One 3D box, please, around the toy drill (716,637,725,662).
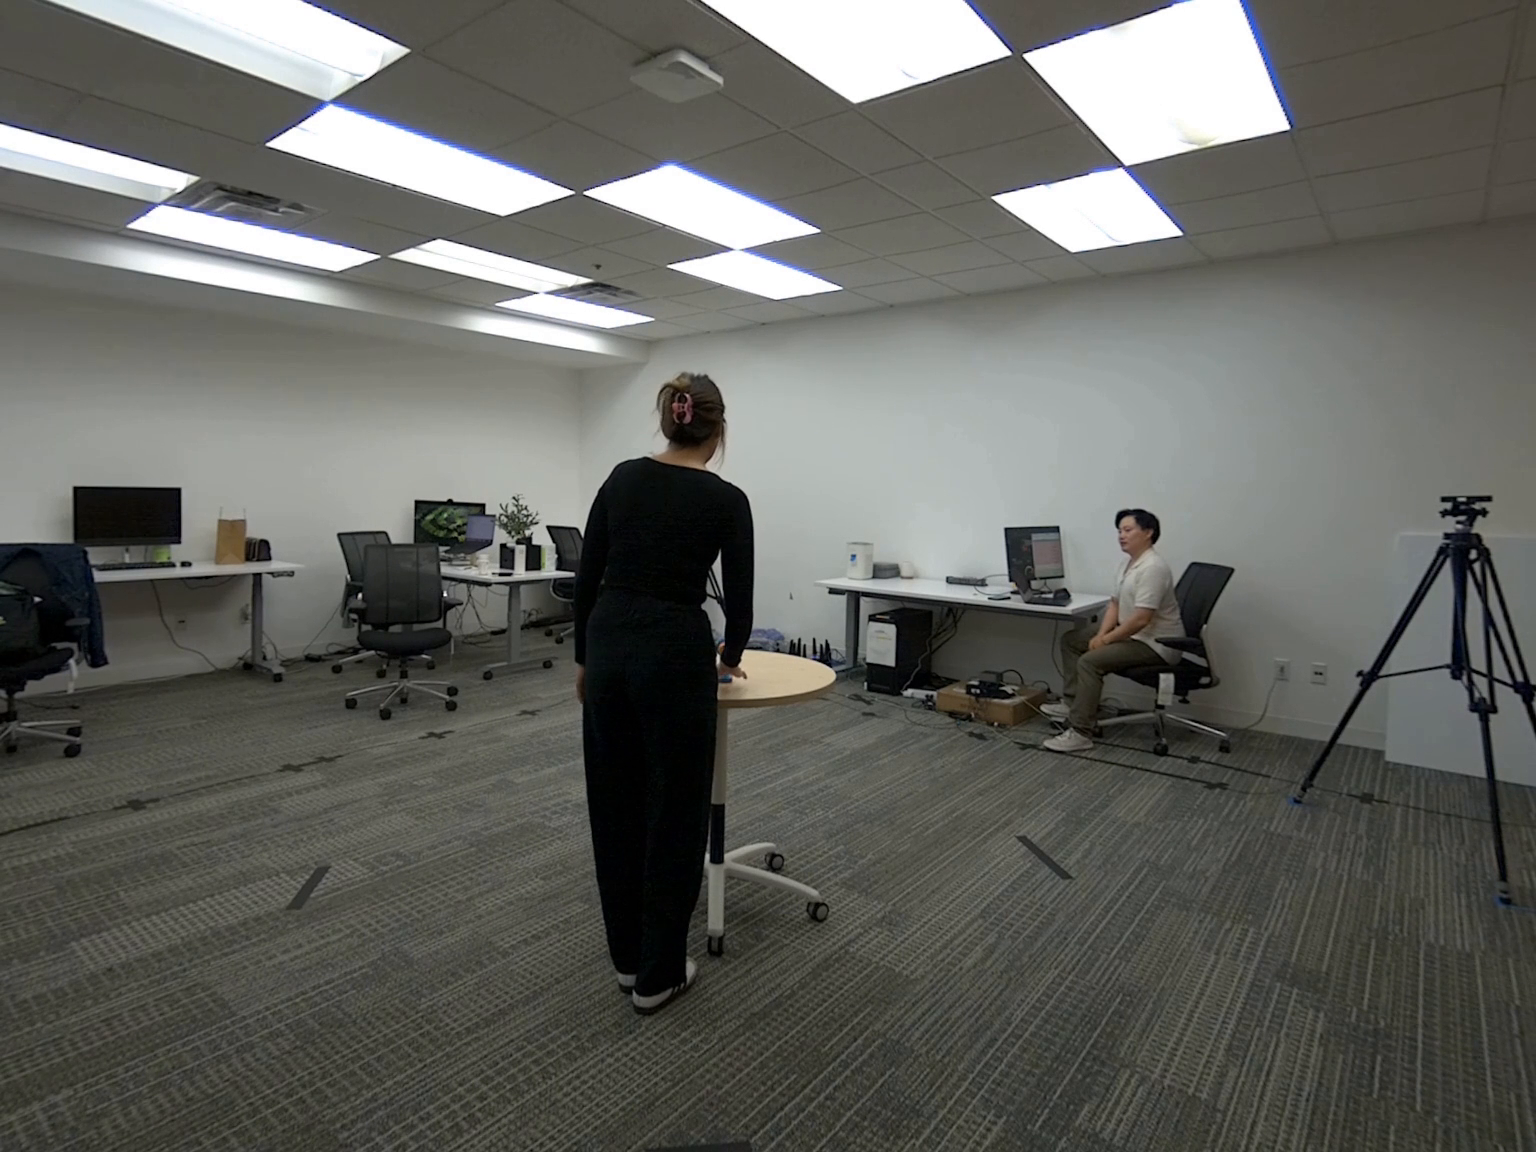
[{"bbox_3d":[-0.143,0.260,2.630,0.061,0.145,0.172,-4,7,-8],"label":"toy drill"}]
